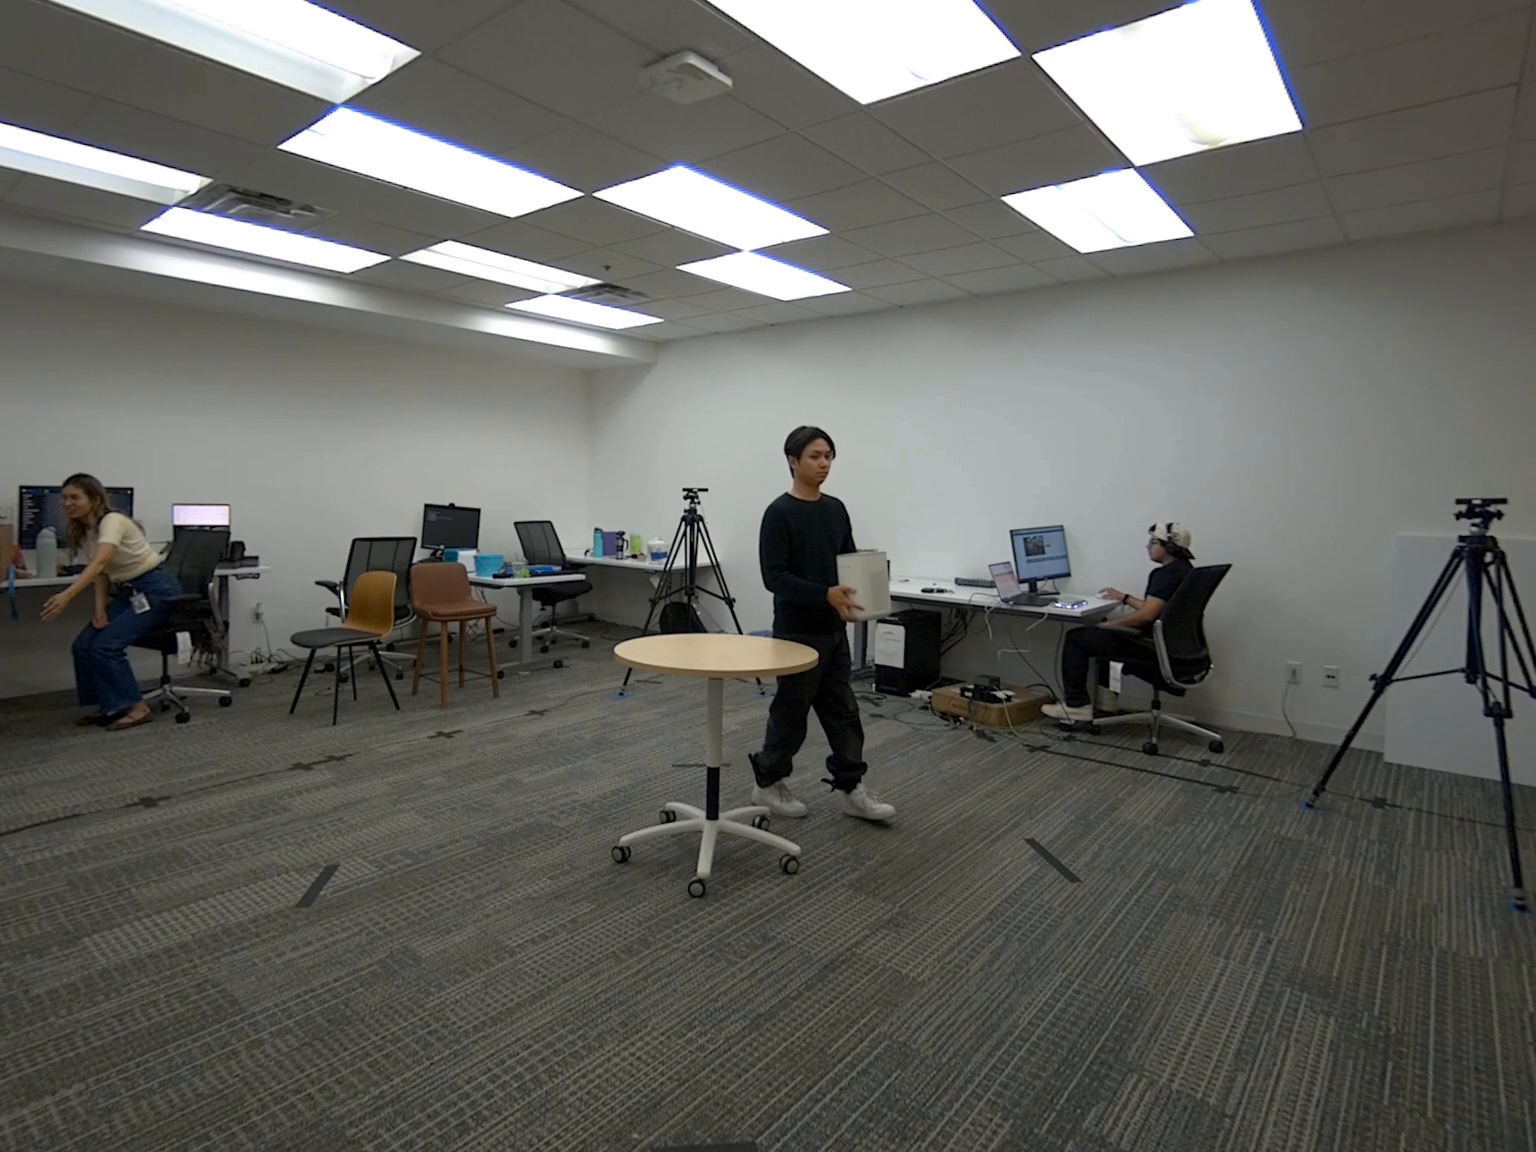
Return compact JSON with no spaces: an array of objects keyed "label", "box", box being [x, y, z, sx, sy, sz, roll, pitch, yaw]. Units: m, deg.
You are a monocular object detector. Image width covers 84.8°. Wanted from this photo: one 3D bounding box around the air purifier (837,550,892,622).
[{"label":"air purifier","box":[0.376,0.033,3.434,0.167,0.265,0.176,-7,1,-41]}]
